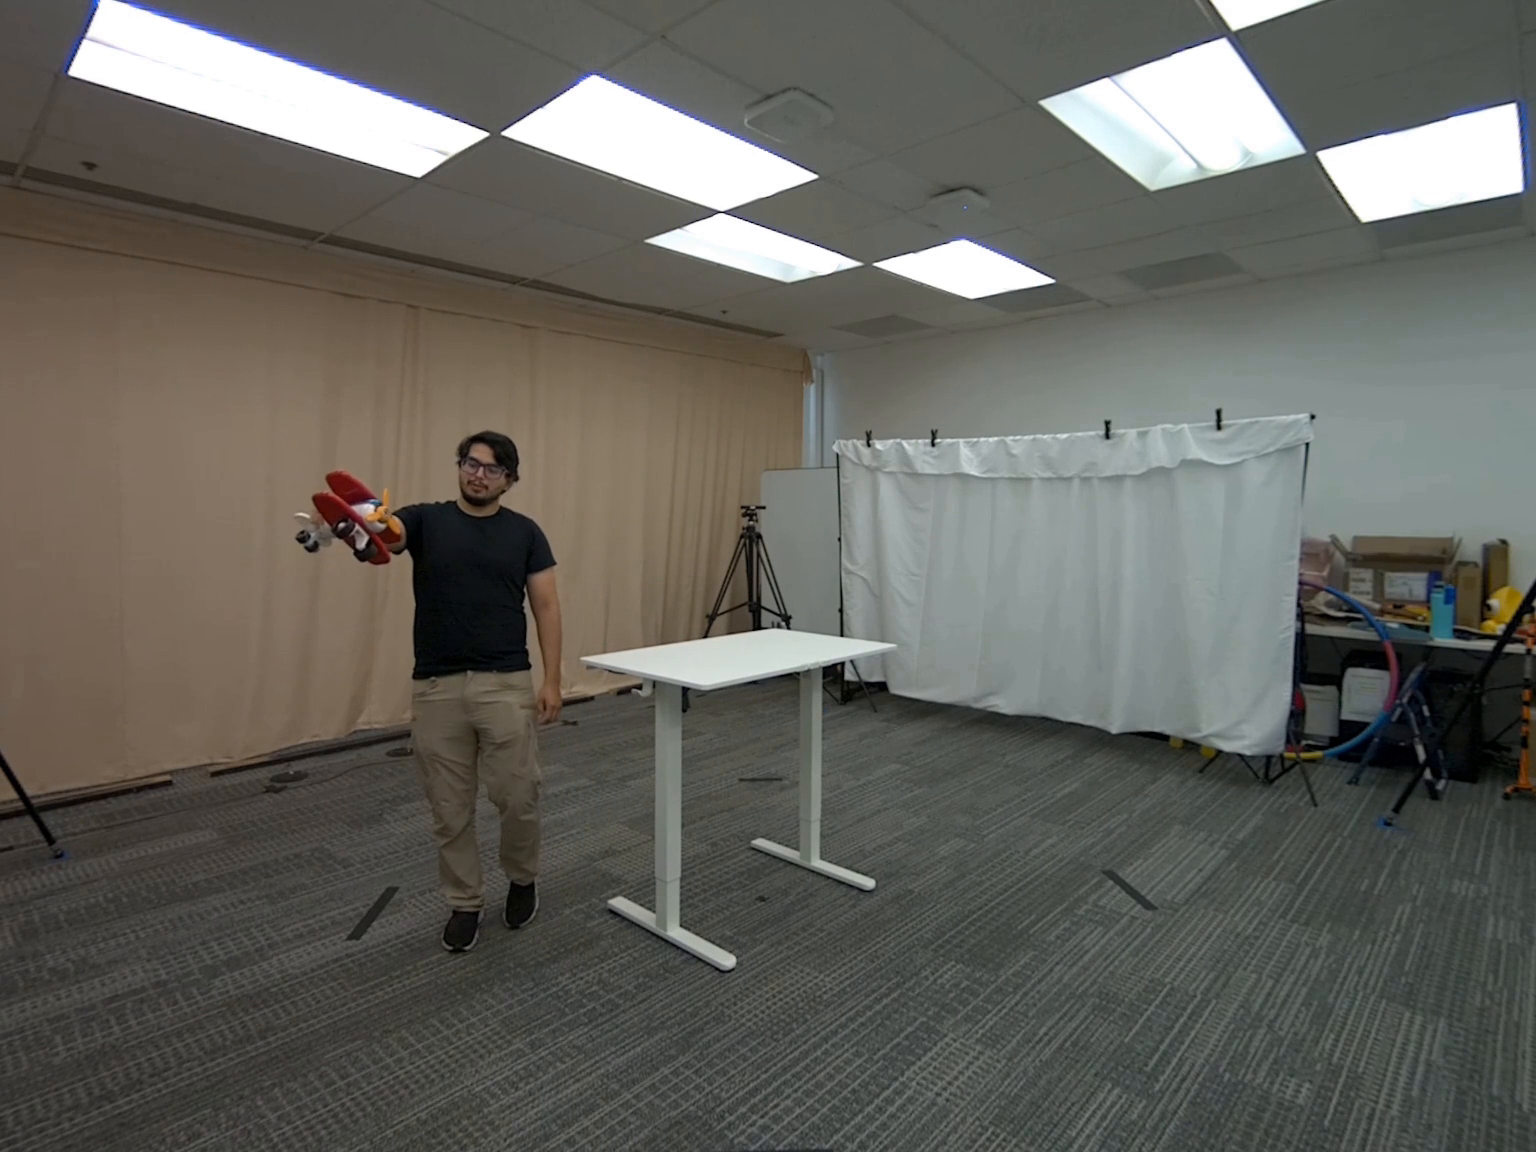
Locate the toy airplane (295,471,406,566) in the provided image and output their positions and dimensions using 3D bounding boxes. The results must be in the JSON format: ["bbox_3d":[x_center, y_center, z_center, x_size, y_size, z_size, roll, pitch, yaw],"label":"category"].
[{"bbox_3d":[-1.102,-0.141,2.114,0.261,0.157,0.248,21,-39,5],"label":"toy airplane"}]
